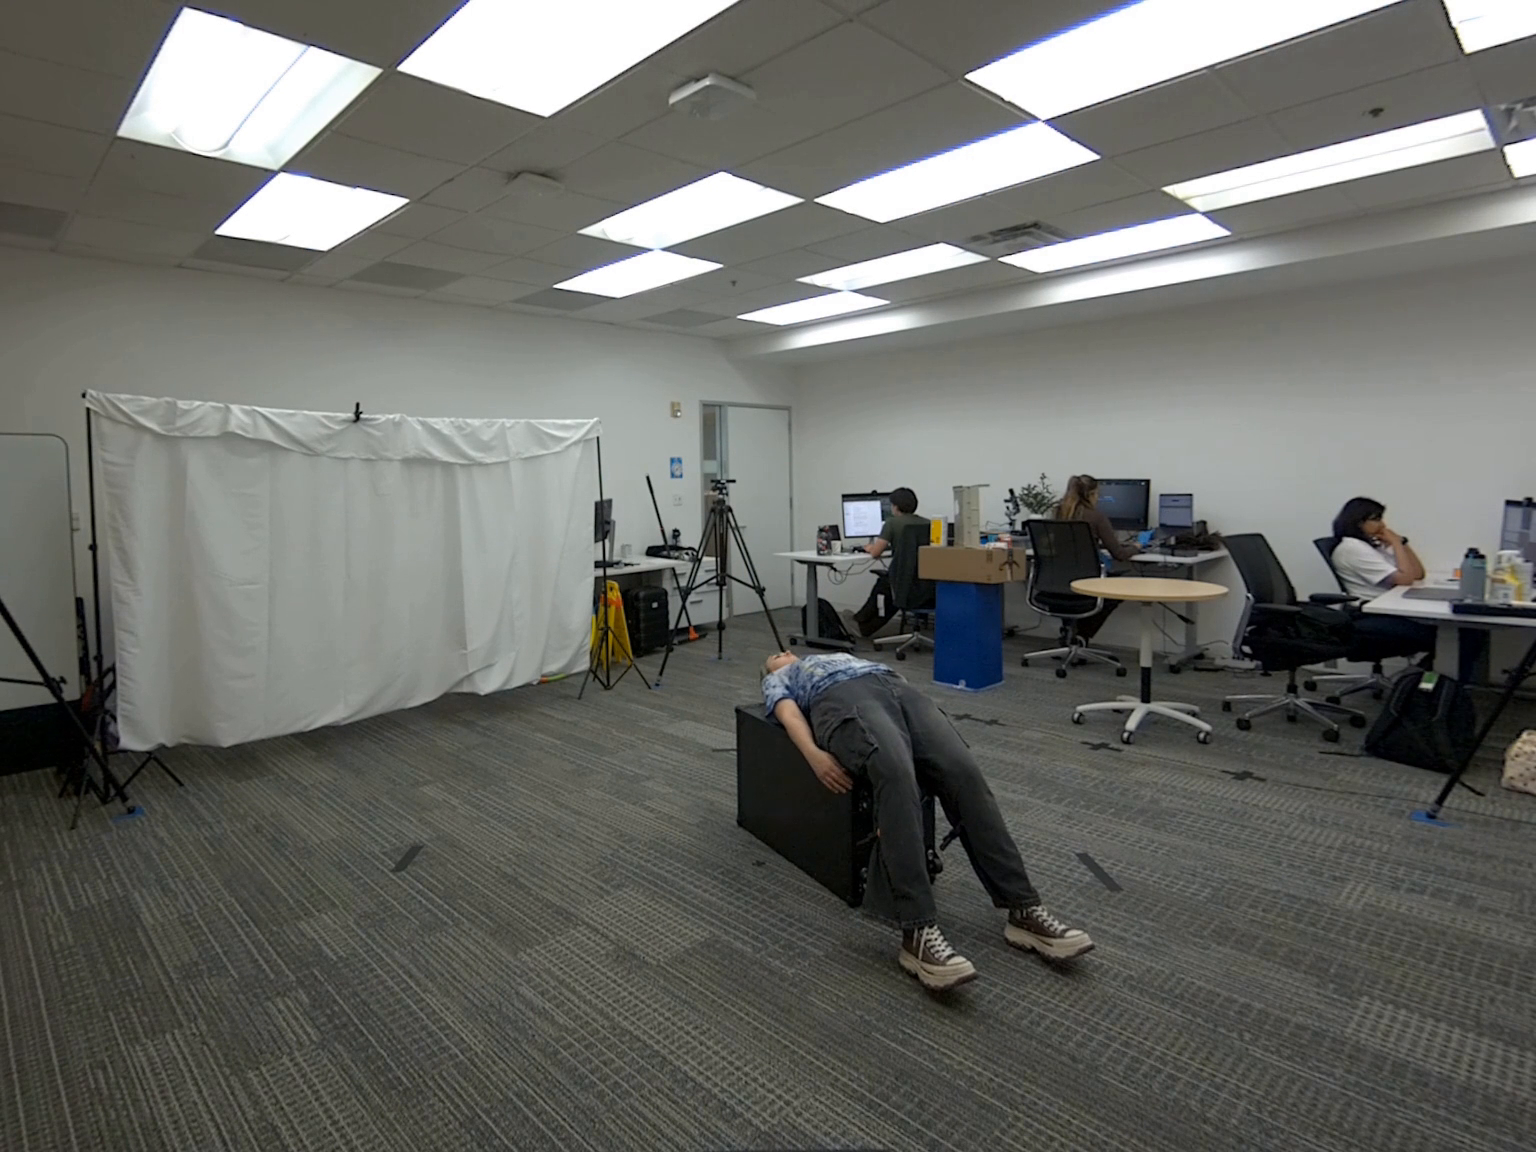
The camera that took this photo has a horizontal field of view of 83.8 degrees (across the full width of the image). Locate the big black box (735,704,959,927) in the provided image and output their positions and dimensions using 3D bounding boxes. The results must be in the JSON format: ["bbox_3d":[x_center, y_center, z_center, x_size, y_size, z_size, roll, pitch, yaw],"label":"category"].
[{"bbox_3d":[0.247,0.797,3.158,0.387,0.518,0.885,-4,7,-29],"label":"big black box"}]
